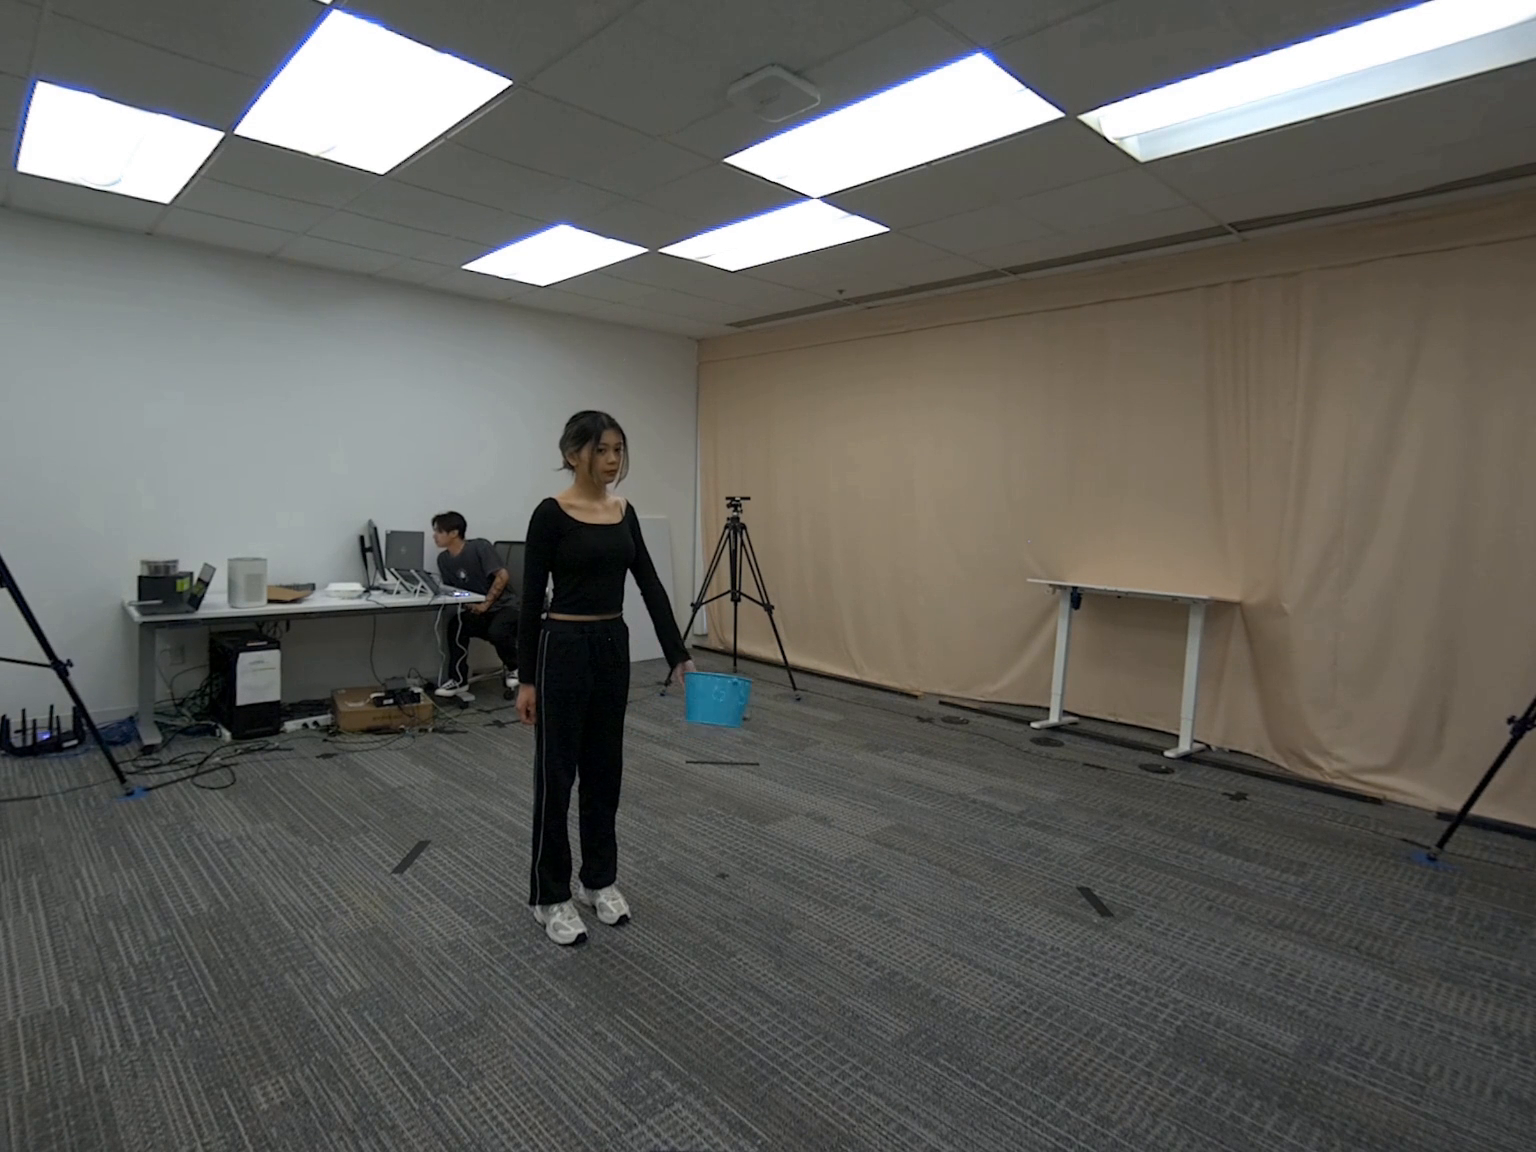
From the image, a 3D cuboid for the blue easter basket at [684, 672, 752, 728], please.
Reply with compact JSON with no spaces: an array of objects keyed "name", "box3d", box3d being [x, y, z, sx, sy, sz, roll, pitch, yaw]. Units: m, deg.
[{"name":"blue easter basket","box3d":[-0.171,0.395,2.706,0.244,0.157,0.242,7,-10,0]}]
